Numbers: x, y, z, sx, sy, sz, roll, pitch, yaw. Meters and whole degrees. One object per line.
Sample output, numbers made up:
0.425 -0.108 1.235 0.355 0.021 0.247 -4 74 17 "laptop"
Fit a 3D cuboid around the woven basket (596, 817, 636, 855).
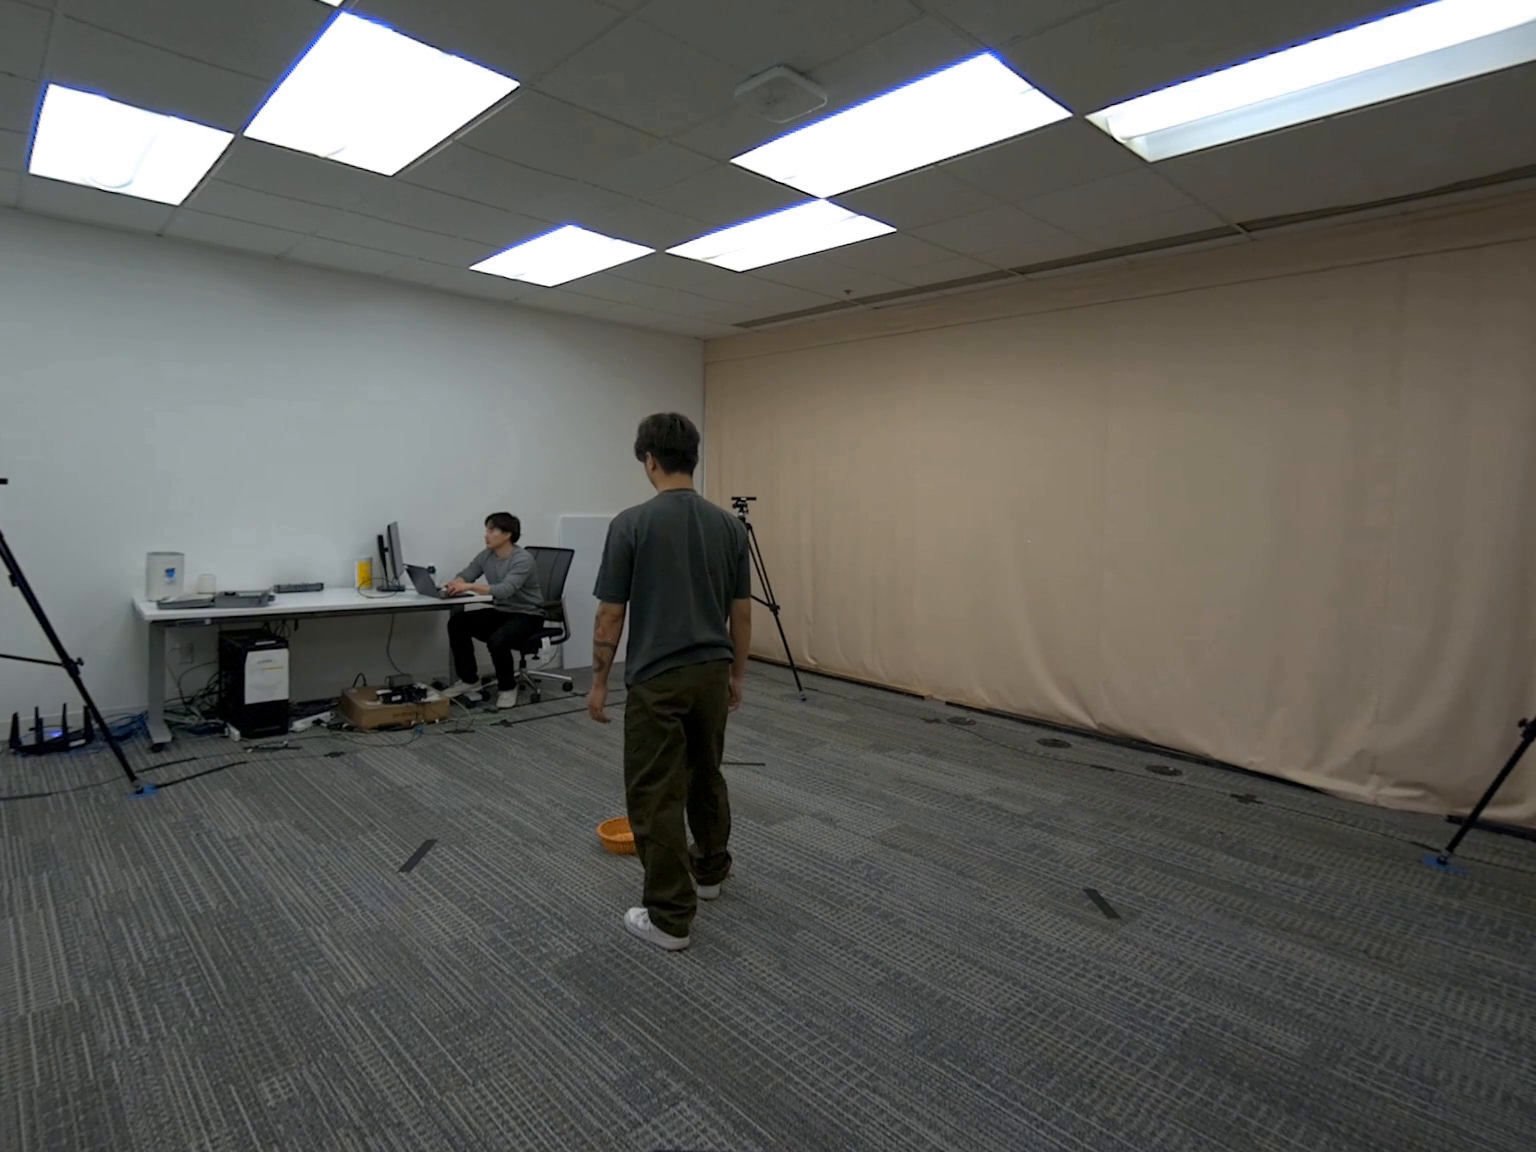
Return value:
-0.519 1.039 3.373 0.345 0.073 0.256 0 5 -18 "woven basket"
